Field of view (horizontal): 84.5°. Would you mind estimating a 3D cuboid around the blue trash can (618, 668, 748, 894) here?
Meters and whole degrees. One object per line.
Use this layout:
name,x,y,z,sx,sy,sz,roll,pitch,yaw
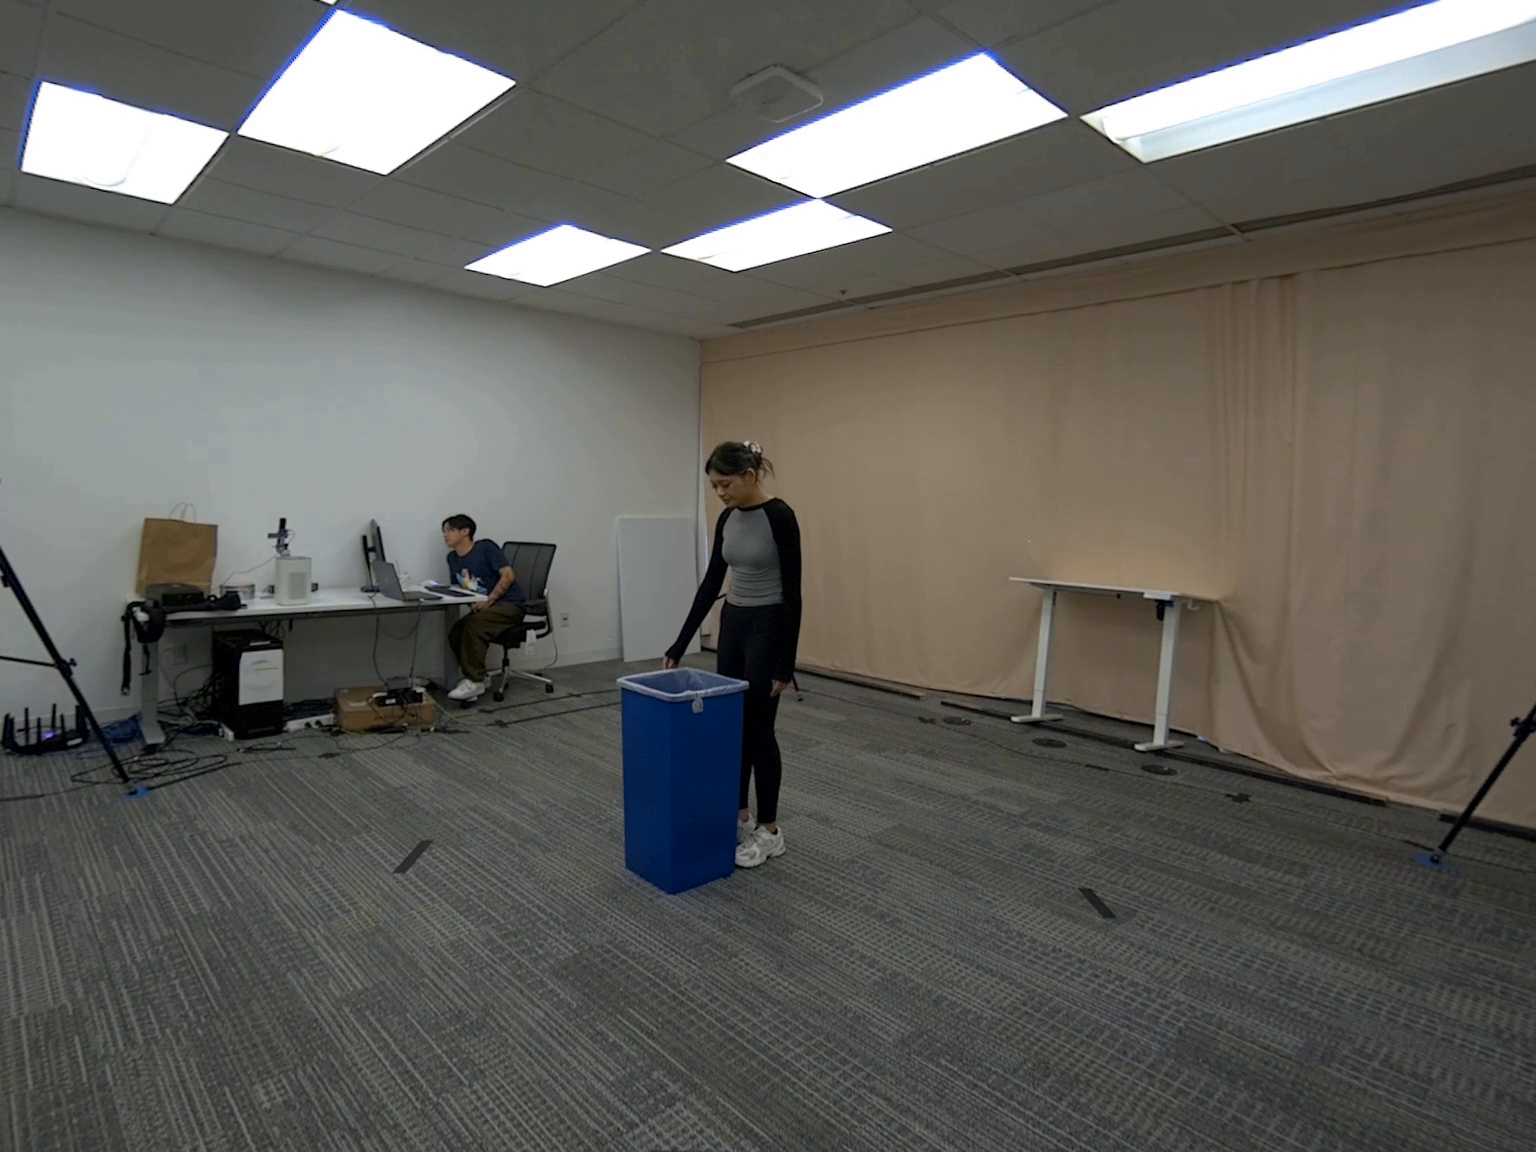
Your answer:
blue trash can,-0.337,0.743,3.132,0.369,0.712,0.384,-2,5,-43
